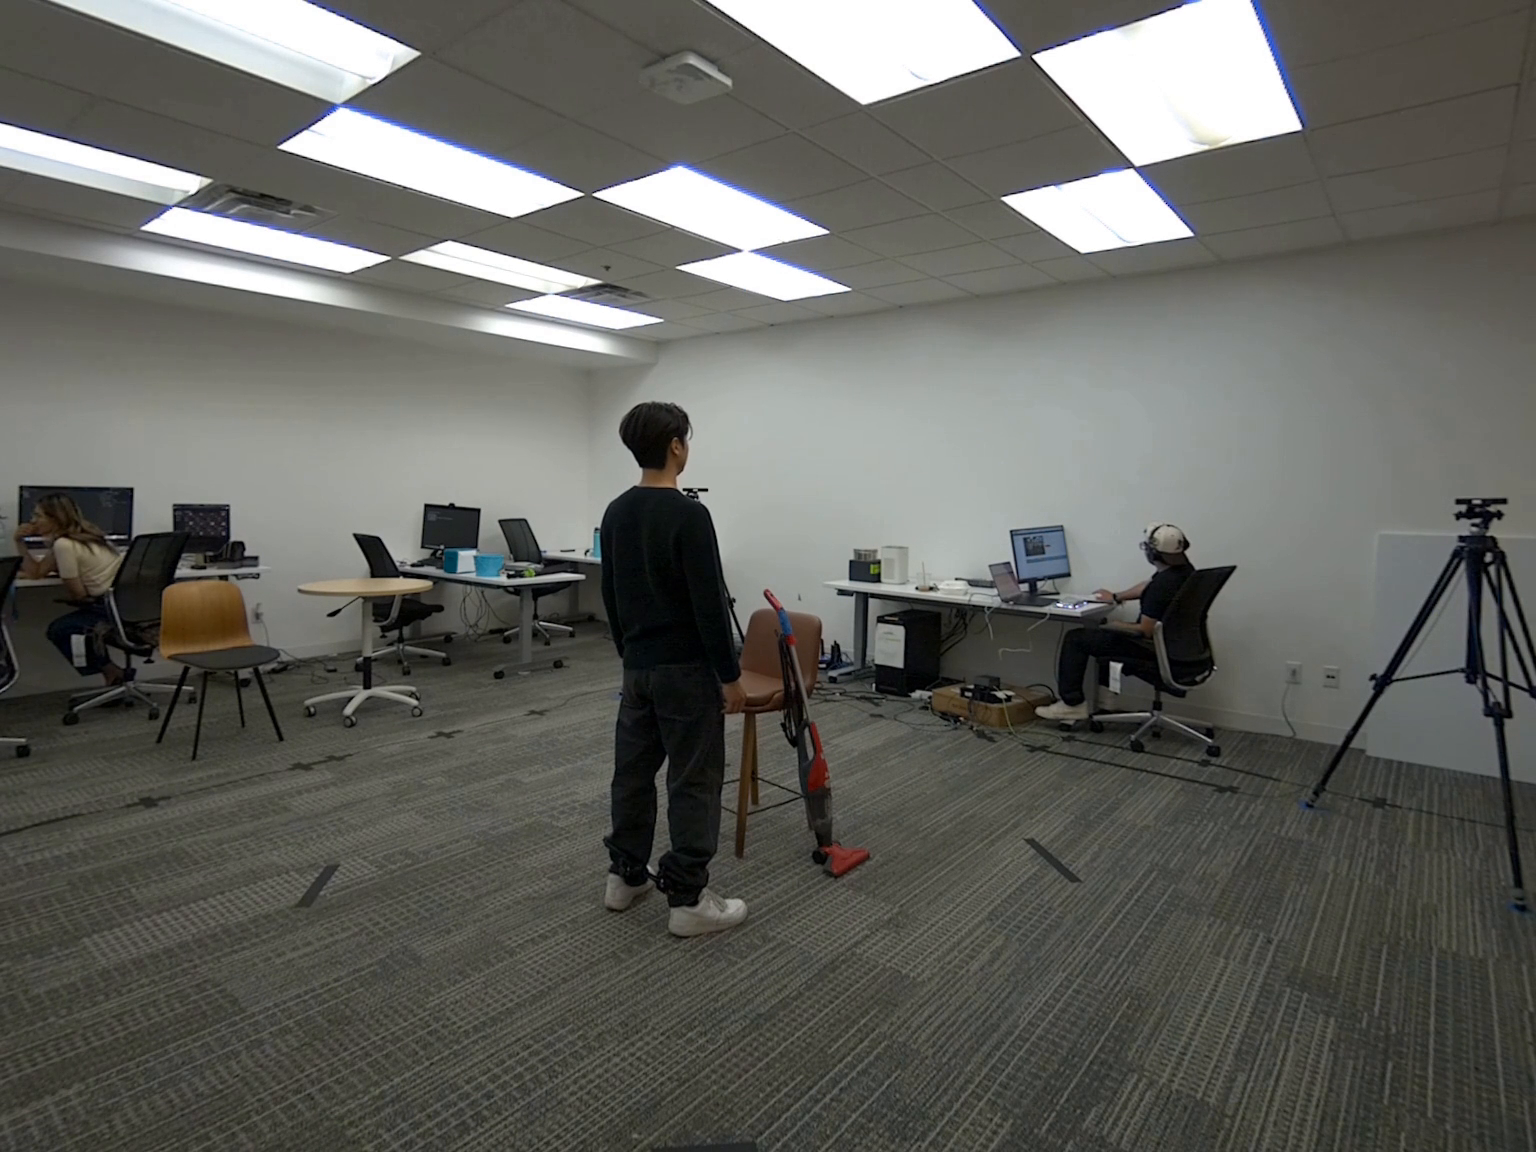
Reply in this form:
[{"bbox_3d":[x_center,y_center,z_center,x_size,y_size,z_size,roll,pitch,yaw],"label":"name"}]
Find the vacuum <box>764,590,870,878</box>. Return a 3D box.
[{"bbox_3d":[0.132,0.564,3.291,0.146,1.062,0.245,-21,-12,35],"label":"vacuum"}]
